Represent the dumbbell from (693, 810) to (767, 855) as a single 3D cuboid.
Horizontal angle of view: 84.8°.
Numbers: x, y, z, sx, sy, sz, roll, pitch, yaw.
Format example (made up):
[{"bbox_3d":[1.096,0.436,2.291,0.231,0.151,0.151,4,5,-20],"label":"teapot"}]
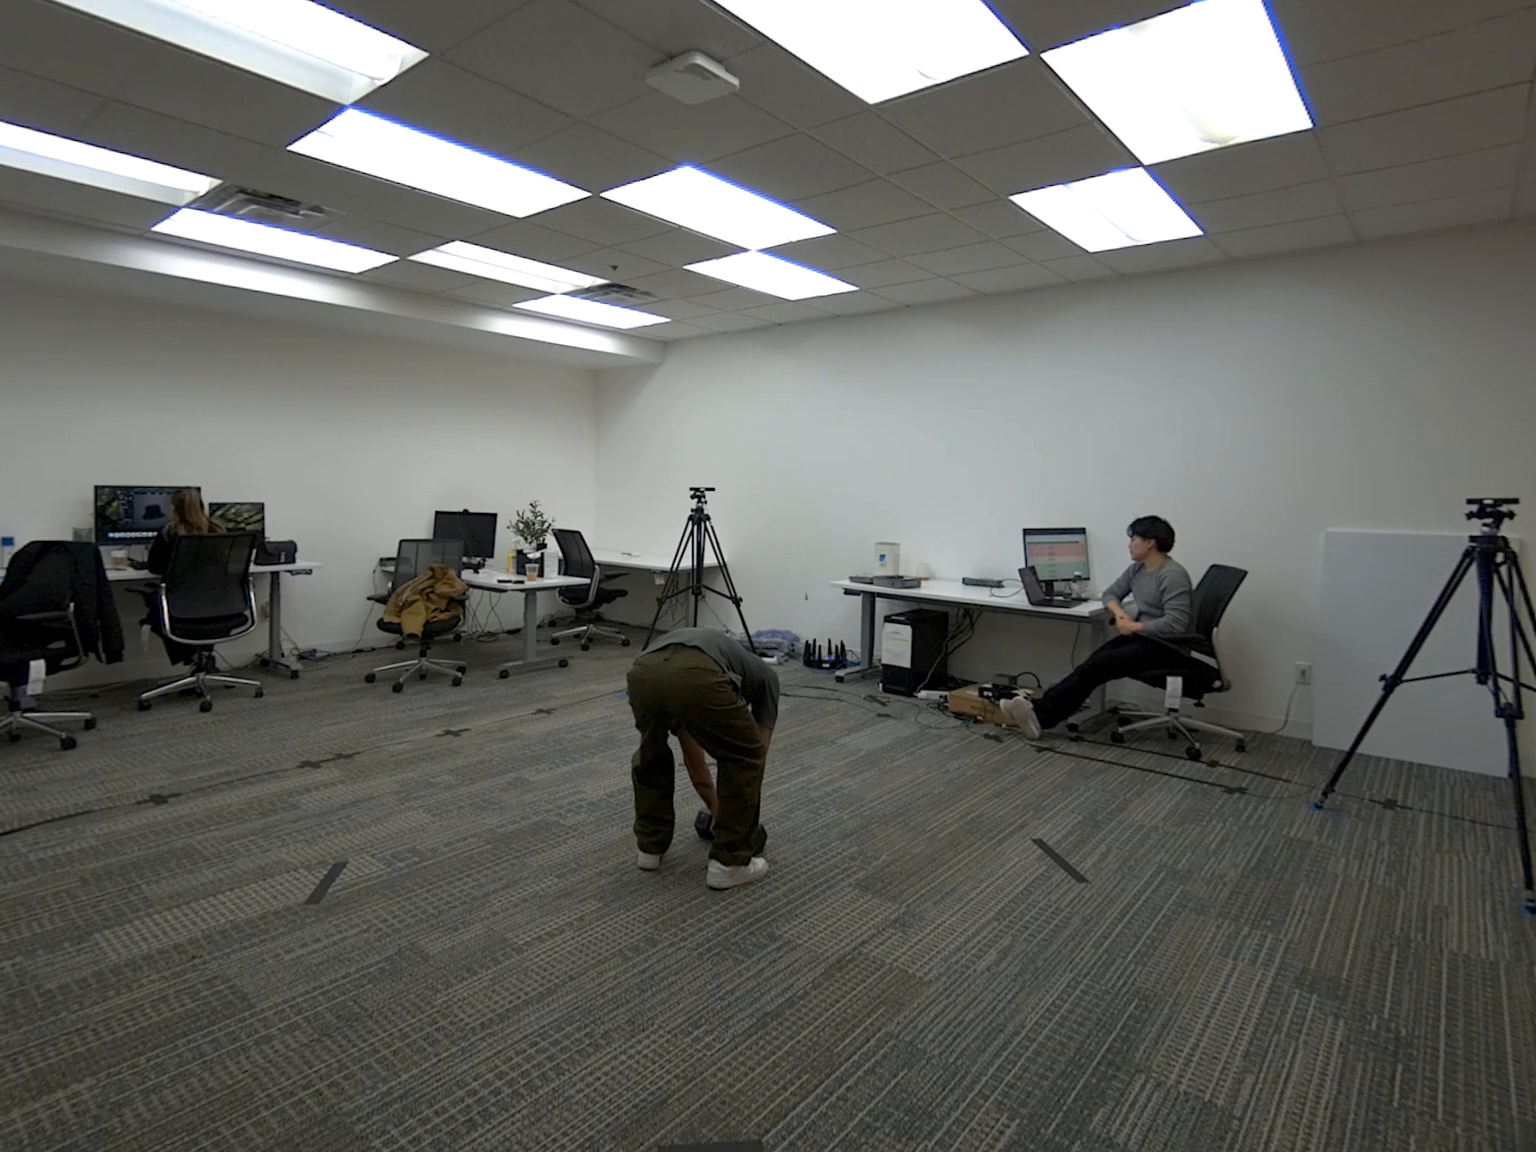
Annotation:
[{"bbox_3d":[-0.159,0.984,3.326,0.303,0.124,0.104,5,-25,40],"label":"dumbbell"}]
